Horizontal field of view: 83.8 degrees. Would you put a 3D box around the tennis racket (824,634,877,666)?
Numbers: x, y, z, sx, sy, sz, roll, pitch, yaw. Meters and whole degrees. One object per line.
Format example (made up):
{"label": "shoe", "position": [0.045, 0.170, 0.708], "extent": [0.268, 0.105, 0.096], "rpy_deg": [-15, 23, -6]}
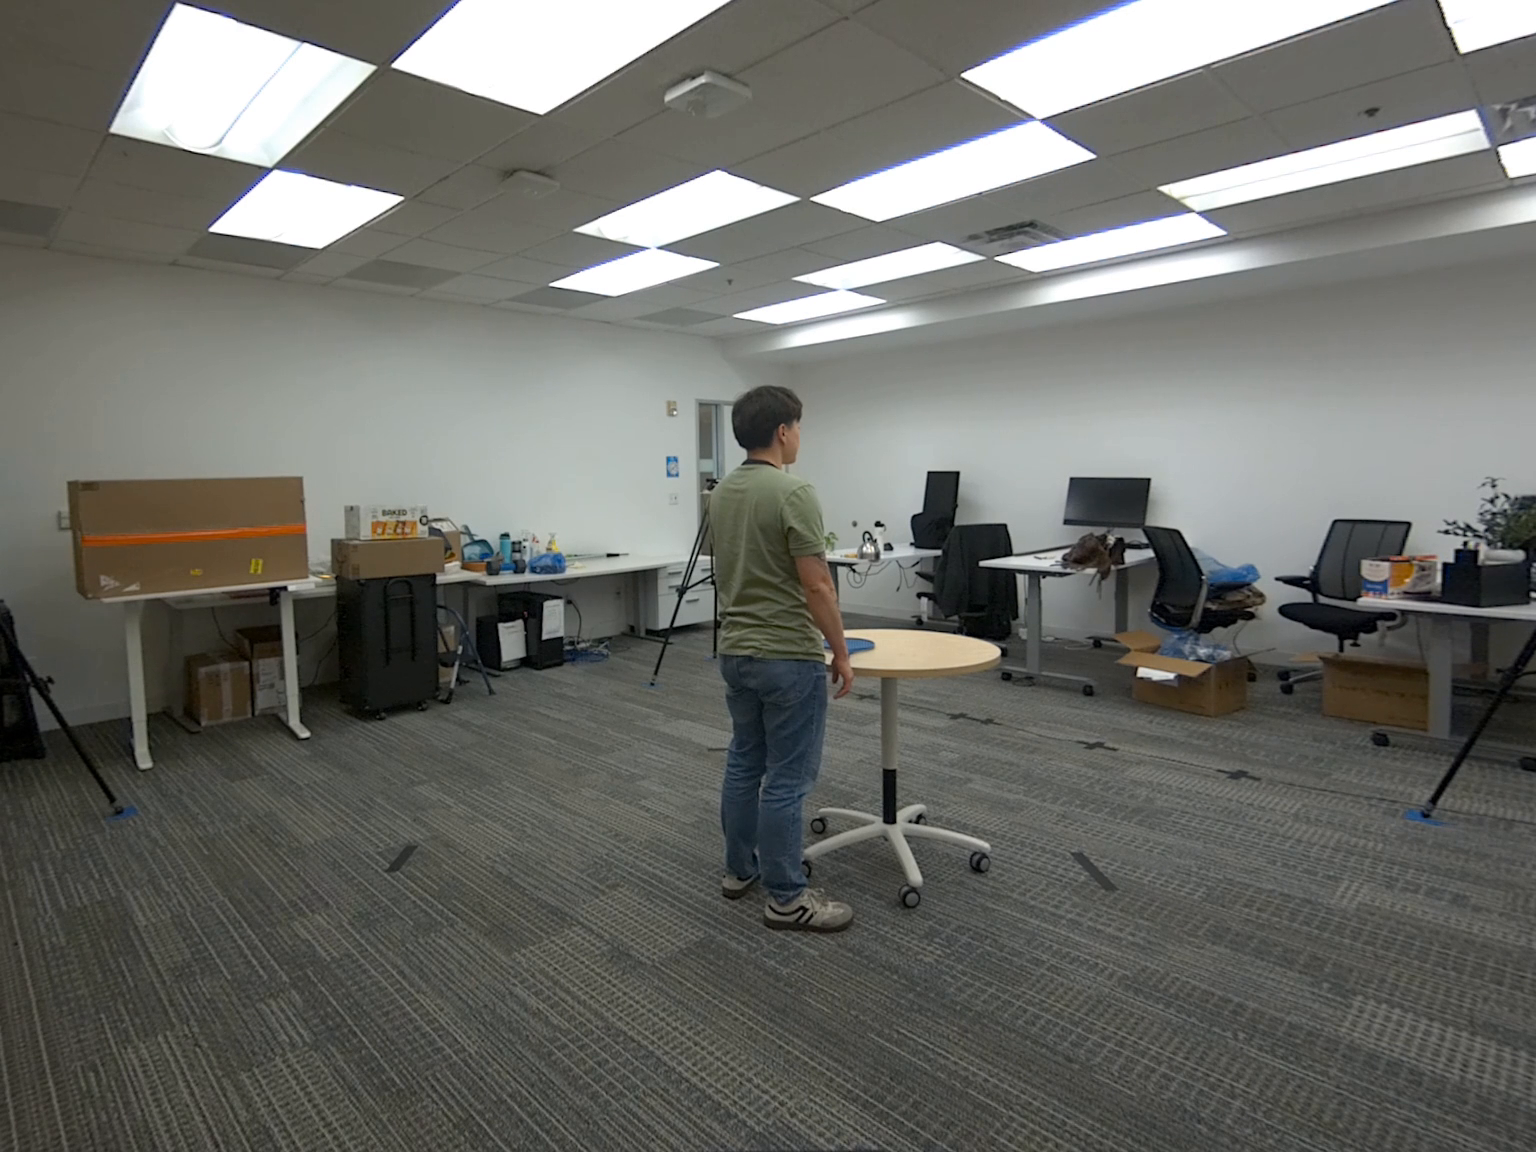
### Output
{"label": "tennis racket", "position": [0.269, 0.254, 3.007], "extent": [0.216, 0.031, 0.430], "rpy_deg": [0, 4, 8]}
